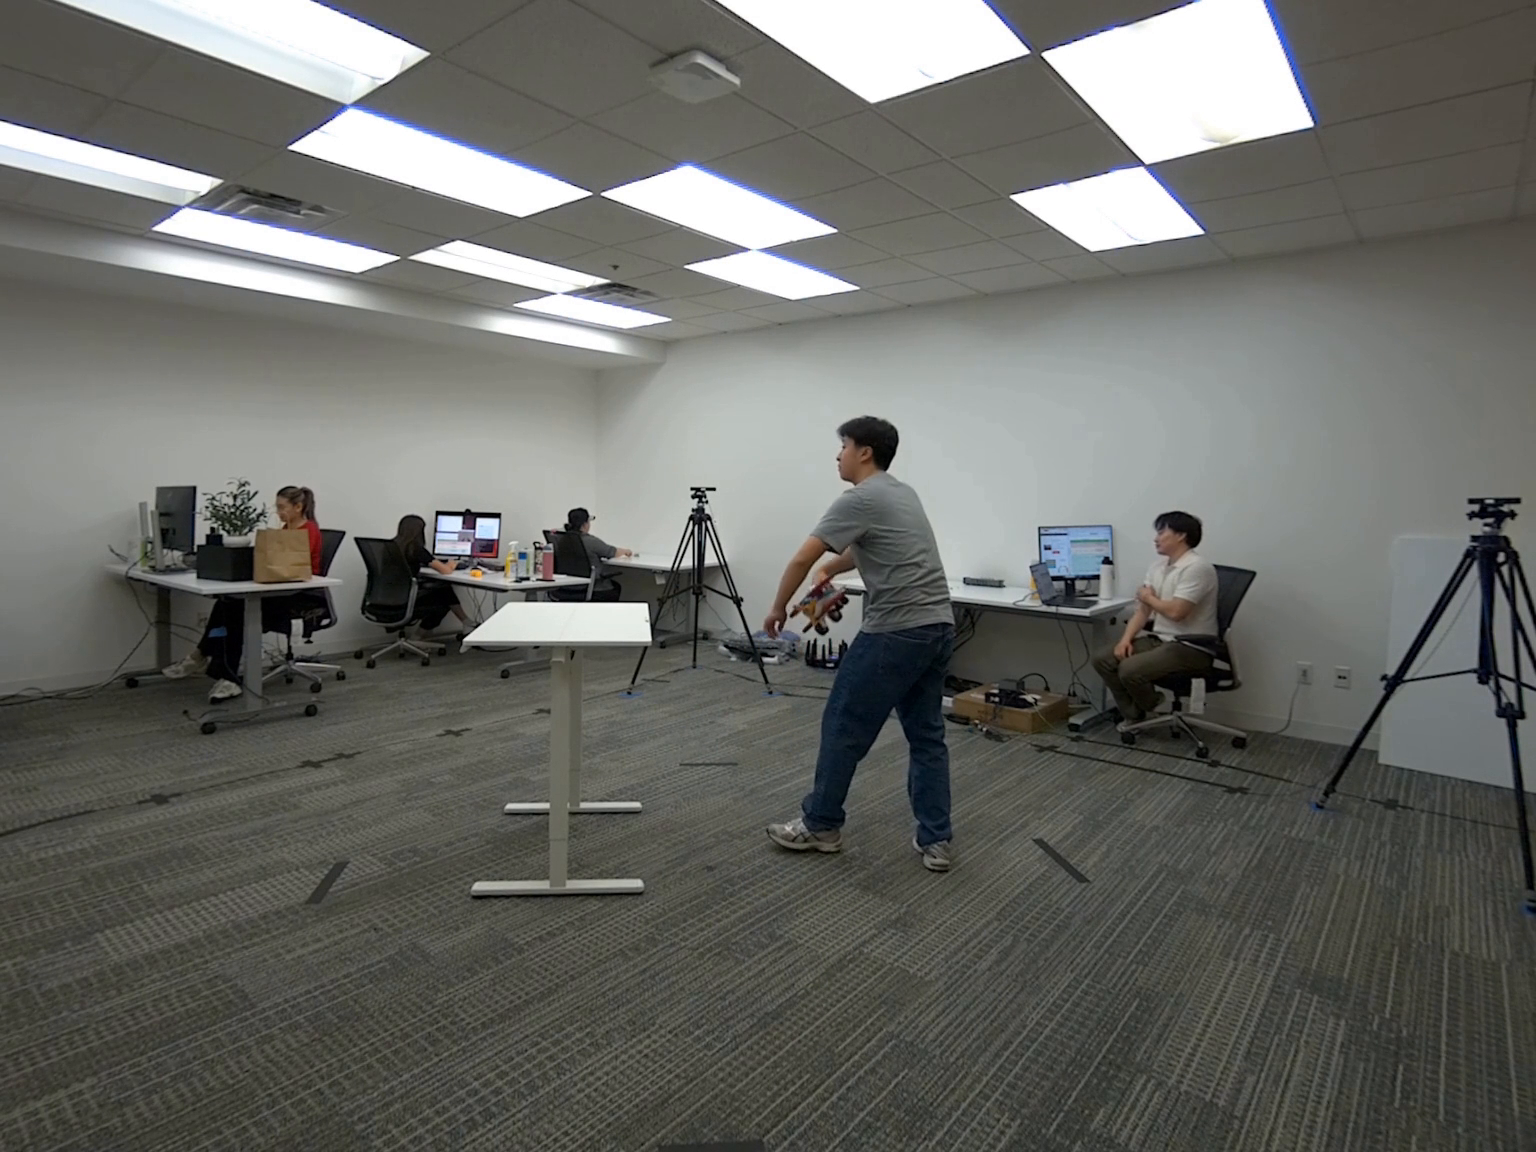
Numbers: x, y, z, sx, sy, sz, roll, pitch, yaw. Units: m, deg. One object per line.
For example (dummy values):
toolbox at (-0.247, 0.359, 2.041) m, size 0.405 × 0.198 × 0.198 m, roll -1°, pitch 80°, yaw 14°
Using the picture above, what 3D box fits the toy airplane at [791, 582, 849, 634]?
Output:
toy airplane at (0.213, 0.146, 3.359) m, size 0.157 × 0.251 × 0.258 m, roll 39°, pitch 9°, yaw 1°
